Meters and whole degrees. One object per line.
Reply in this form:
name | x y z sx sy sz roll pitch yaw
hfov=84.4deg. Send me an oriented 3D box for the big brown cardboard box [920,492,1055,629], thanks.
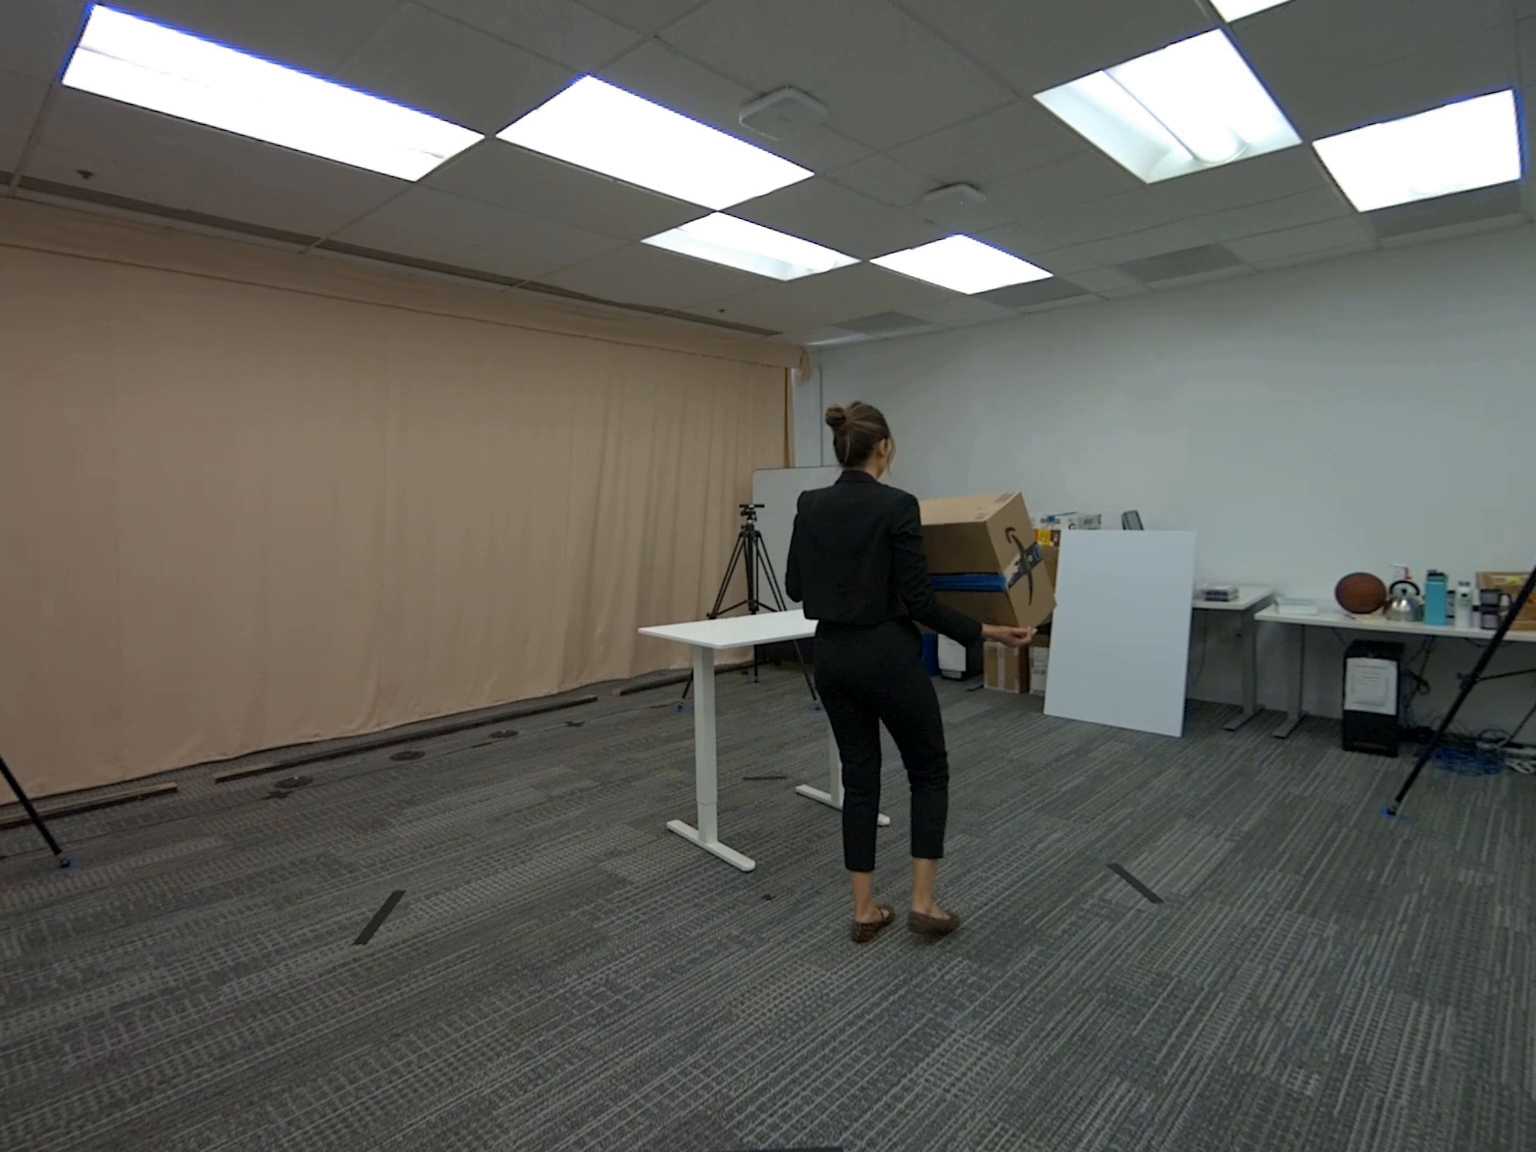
big brown cardboard box | 0.605 -0.028 2.842 0.229 0.411 0.607 -34 20 -36
